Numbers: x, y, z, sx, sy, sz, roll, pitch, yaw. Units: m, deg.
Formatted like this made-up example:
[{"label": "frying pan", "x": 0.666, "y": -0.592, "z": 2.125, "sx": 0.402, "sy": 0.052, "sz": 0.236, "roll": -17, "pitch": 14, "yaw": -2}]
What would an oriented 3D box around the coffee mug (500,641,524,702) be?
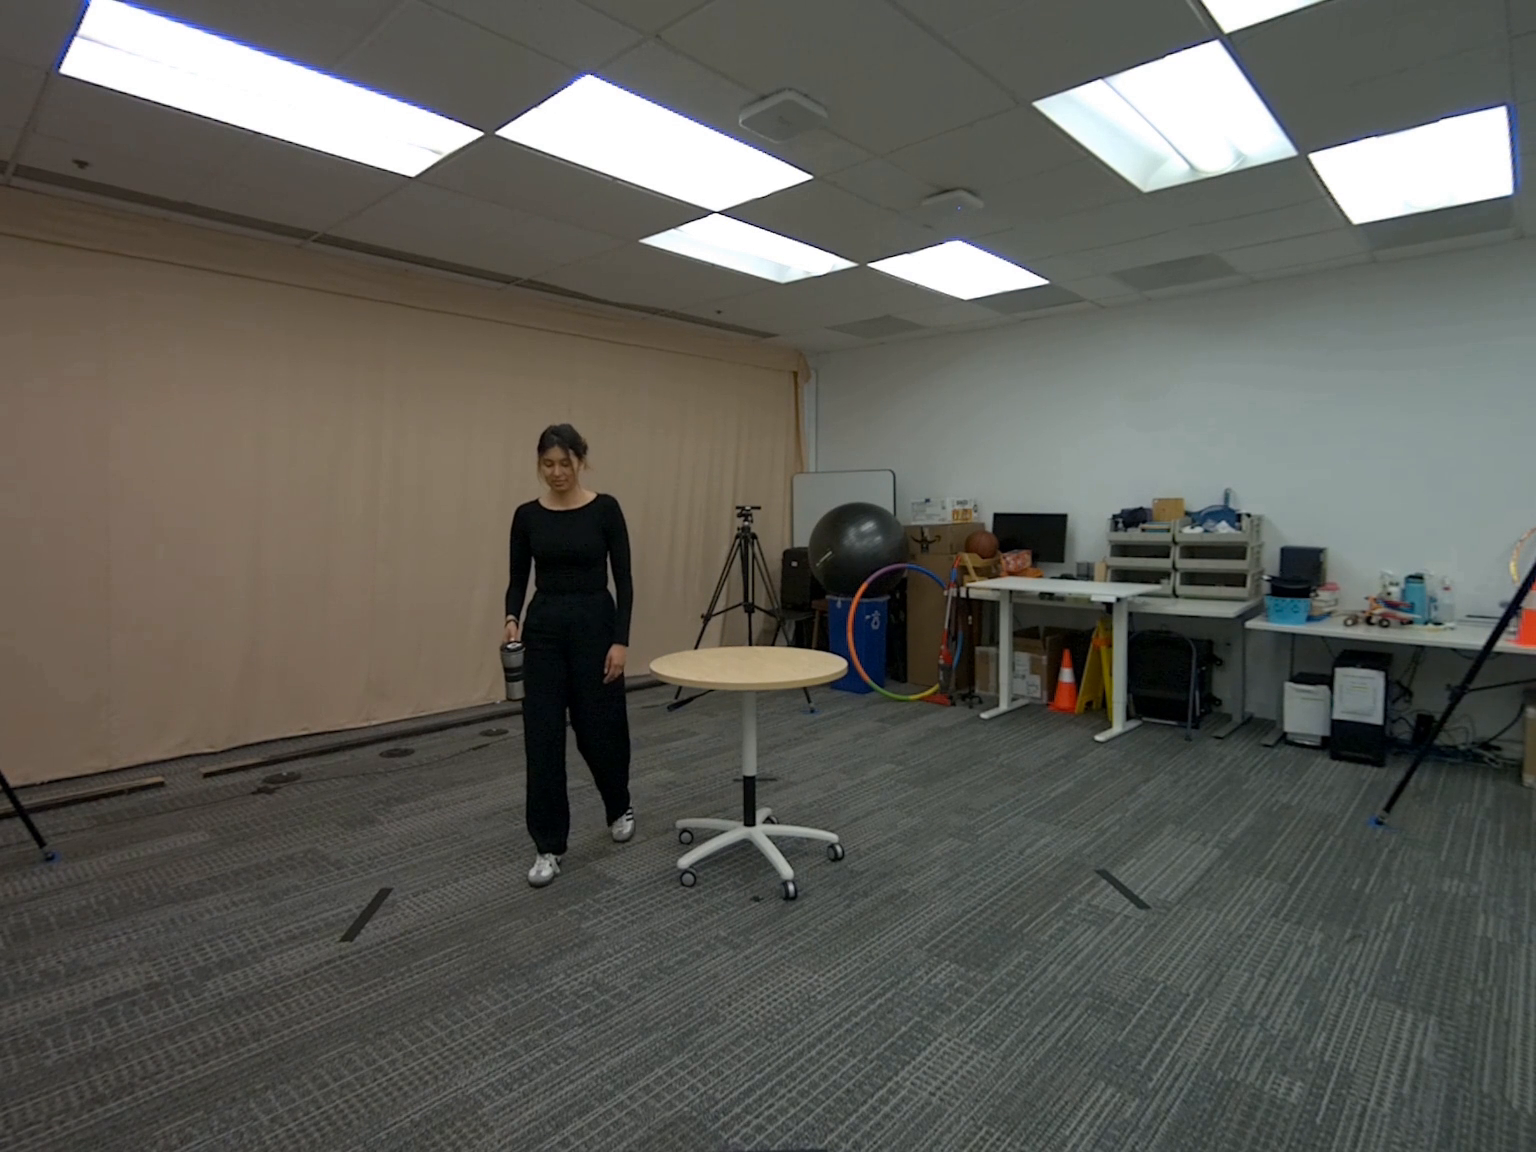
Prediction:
[{"label": "coffee mug", "x": -0.893, "y": 0.342, "z": 3.031, "sx": 0.091, "sy": 0.201, "sz": 0.119, "roll": 6, "pitch": 17, "yaw": 39}]
